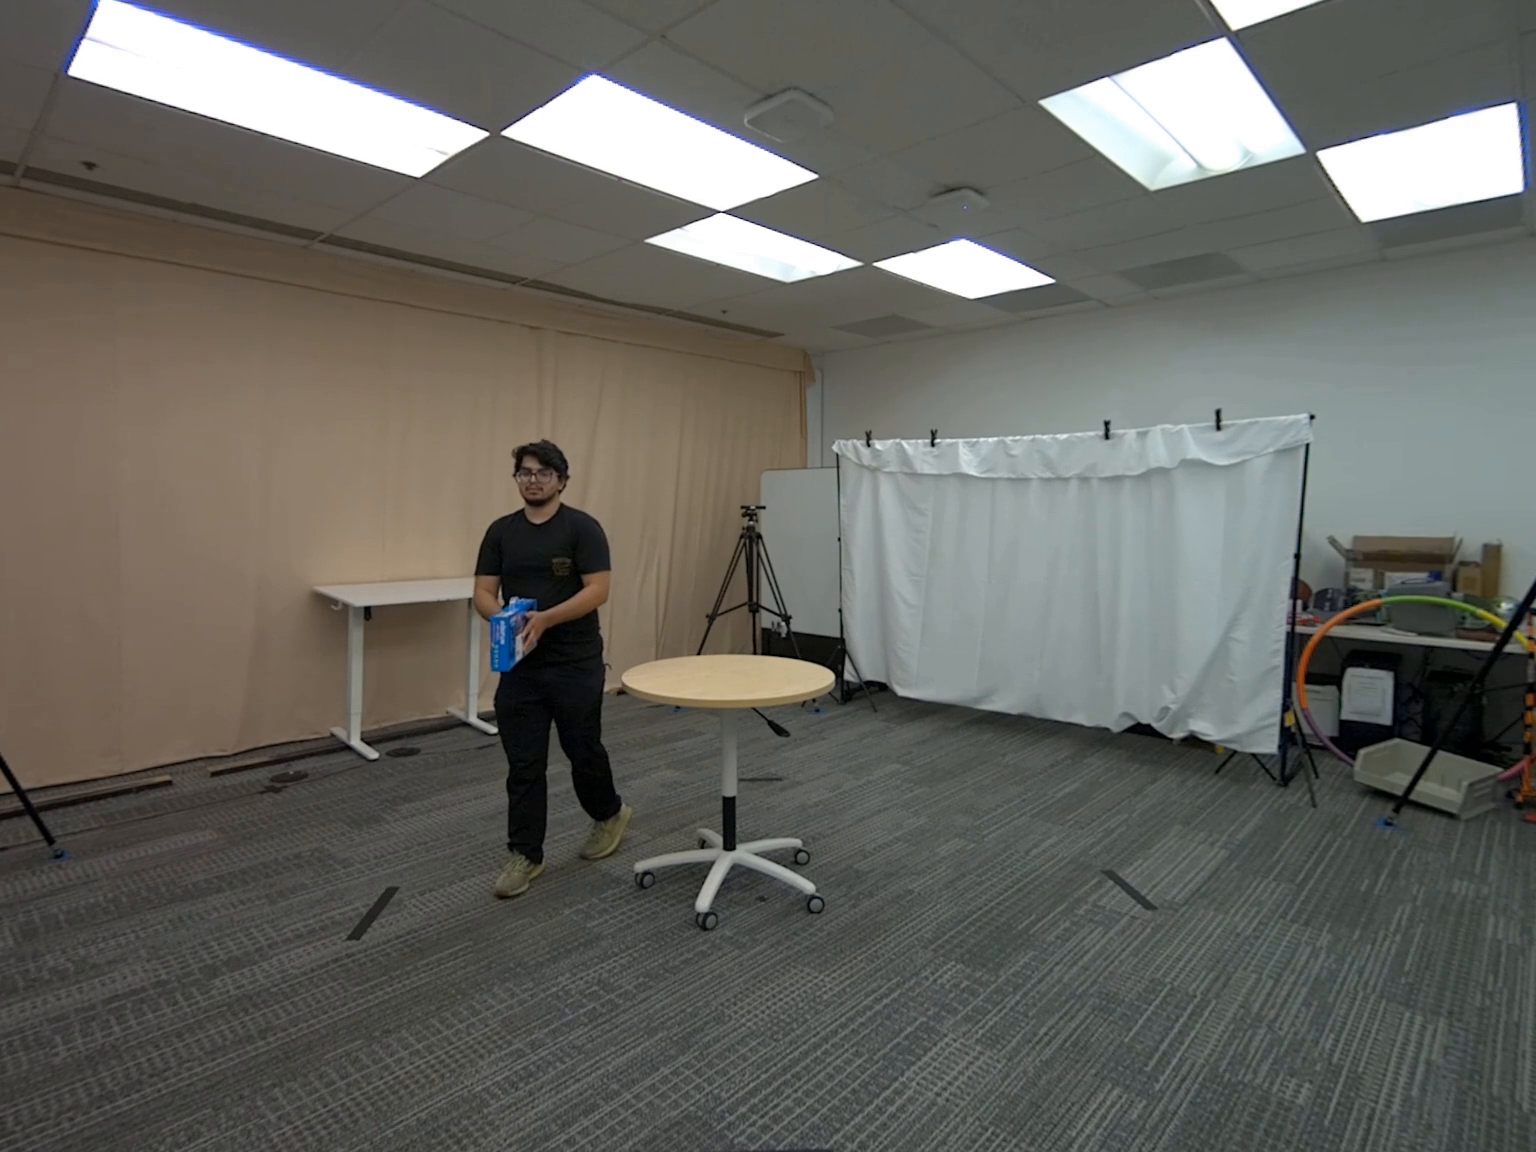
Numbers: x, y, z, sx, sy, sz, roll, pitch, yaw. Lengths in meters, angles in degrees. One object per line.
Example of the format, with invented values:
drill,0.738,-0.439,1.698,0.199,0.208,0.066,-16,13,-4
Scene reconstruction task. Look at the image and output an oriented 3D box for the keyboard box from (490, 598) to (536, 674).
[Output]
keyboard box,-0.837,0.191,2.807,0.059,0.175,0.439,0,5,-4
